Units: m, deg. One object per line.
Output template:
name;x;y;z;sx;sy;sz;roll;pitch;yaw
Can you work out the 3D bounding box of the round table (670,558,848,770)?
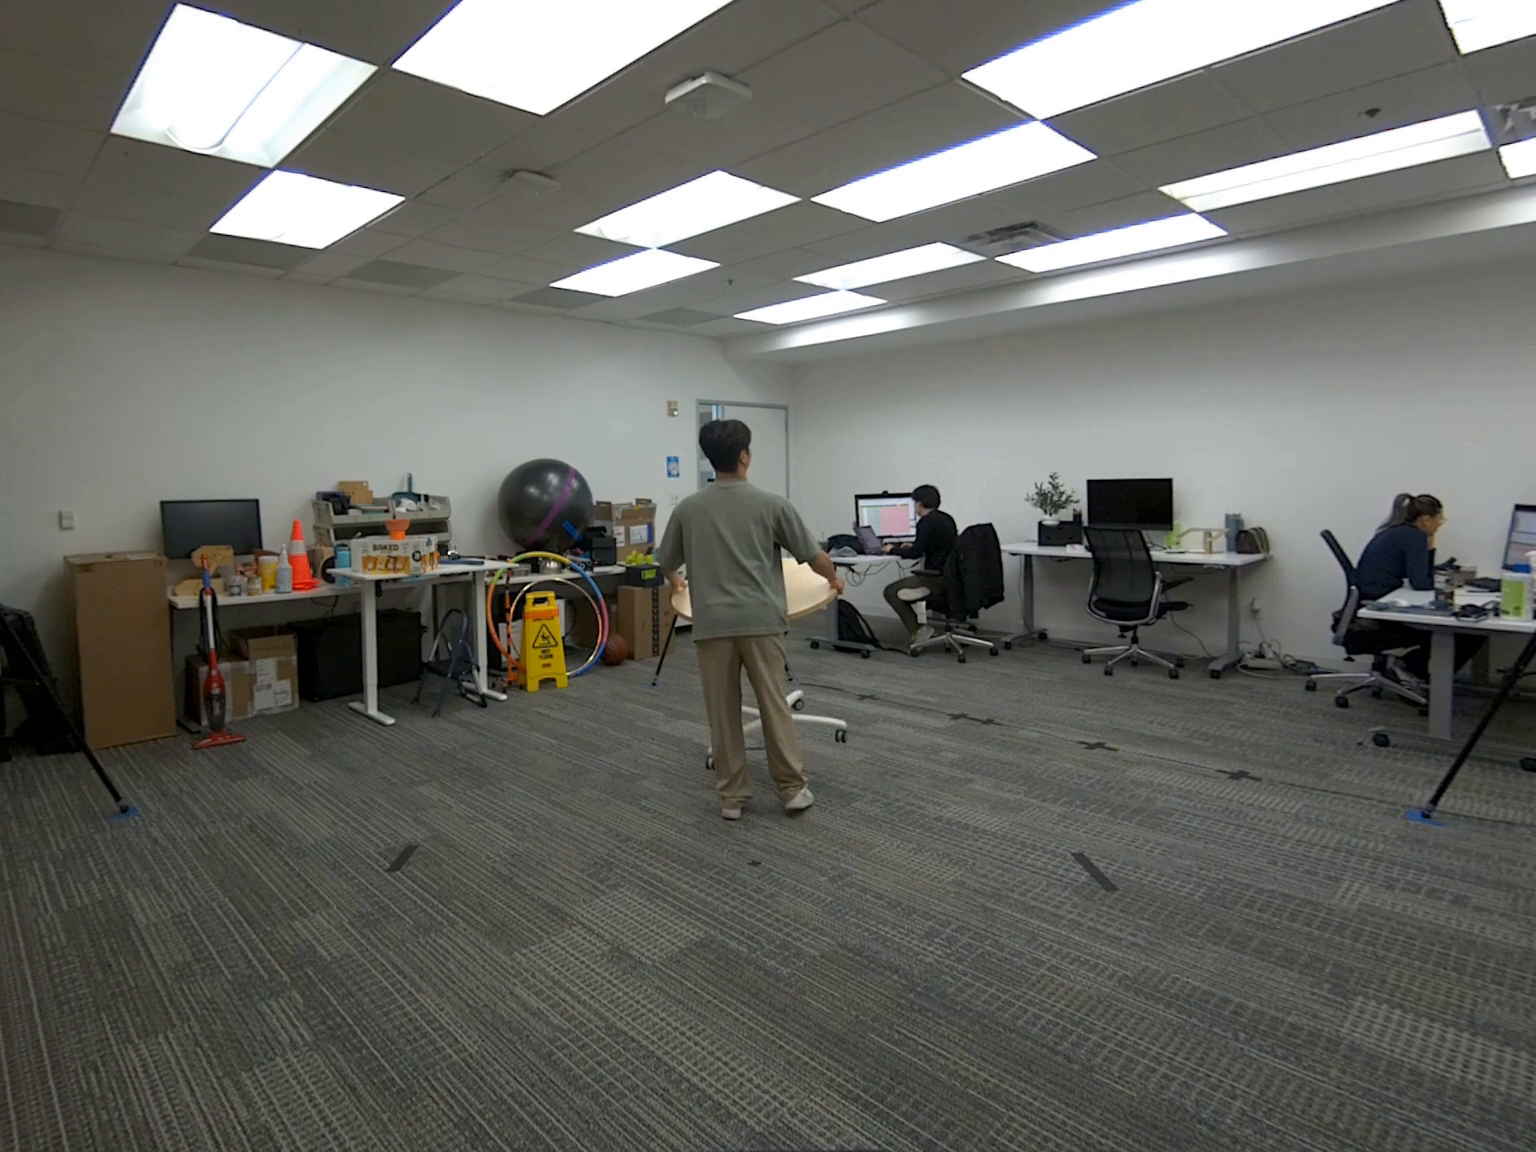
round table;0.005;0.426;4.008;0.786;0.772;0.799;-7;19;1
